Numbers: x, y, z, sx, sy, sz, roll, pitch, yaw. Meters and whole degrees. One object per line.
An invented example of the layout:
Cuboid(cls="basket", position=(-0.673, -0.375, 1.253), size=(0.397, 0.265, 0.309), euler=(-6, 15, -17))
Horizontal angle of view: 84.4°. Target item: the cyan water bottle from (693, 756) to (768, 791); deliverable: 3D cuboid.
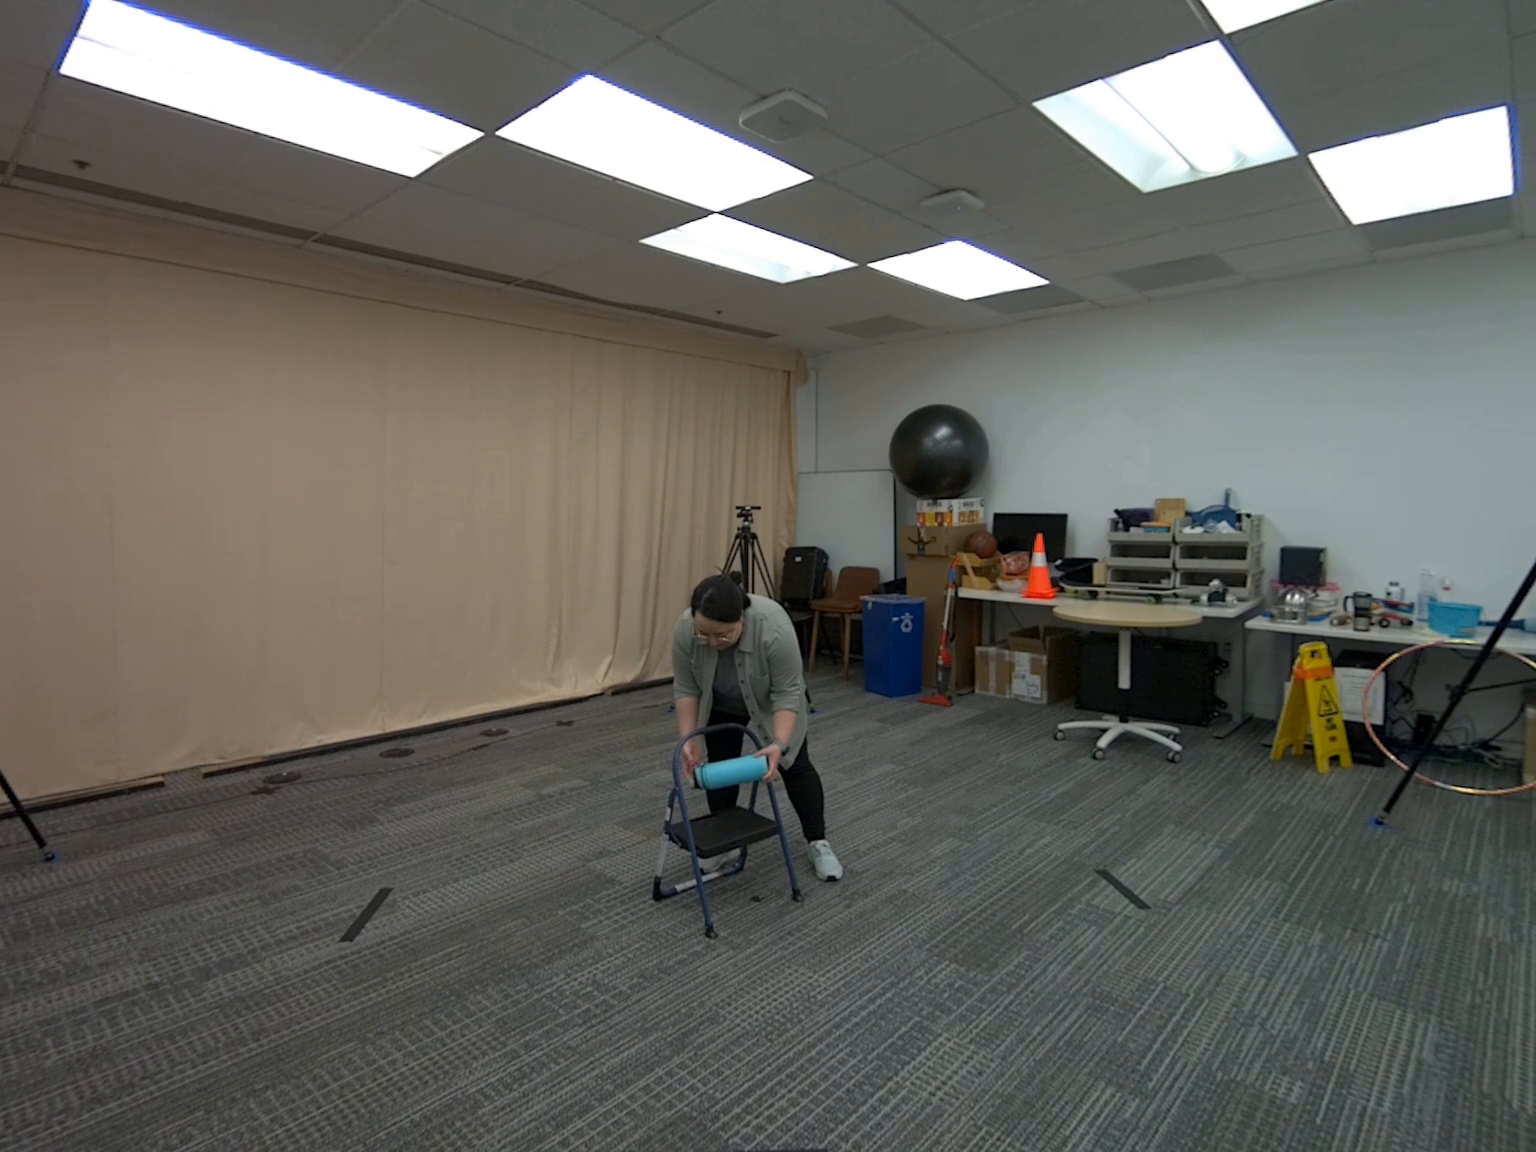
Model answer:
Cuboid(cls="cyan water bottle", position=(-0.135, 0.692, 2.975), size=(0.284, 0.092, 0.092), euler=(-14, 3, 4))
